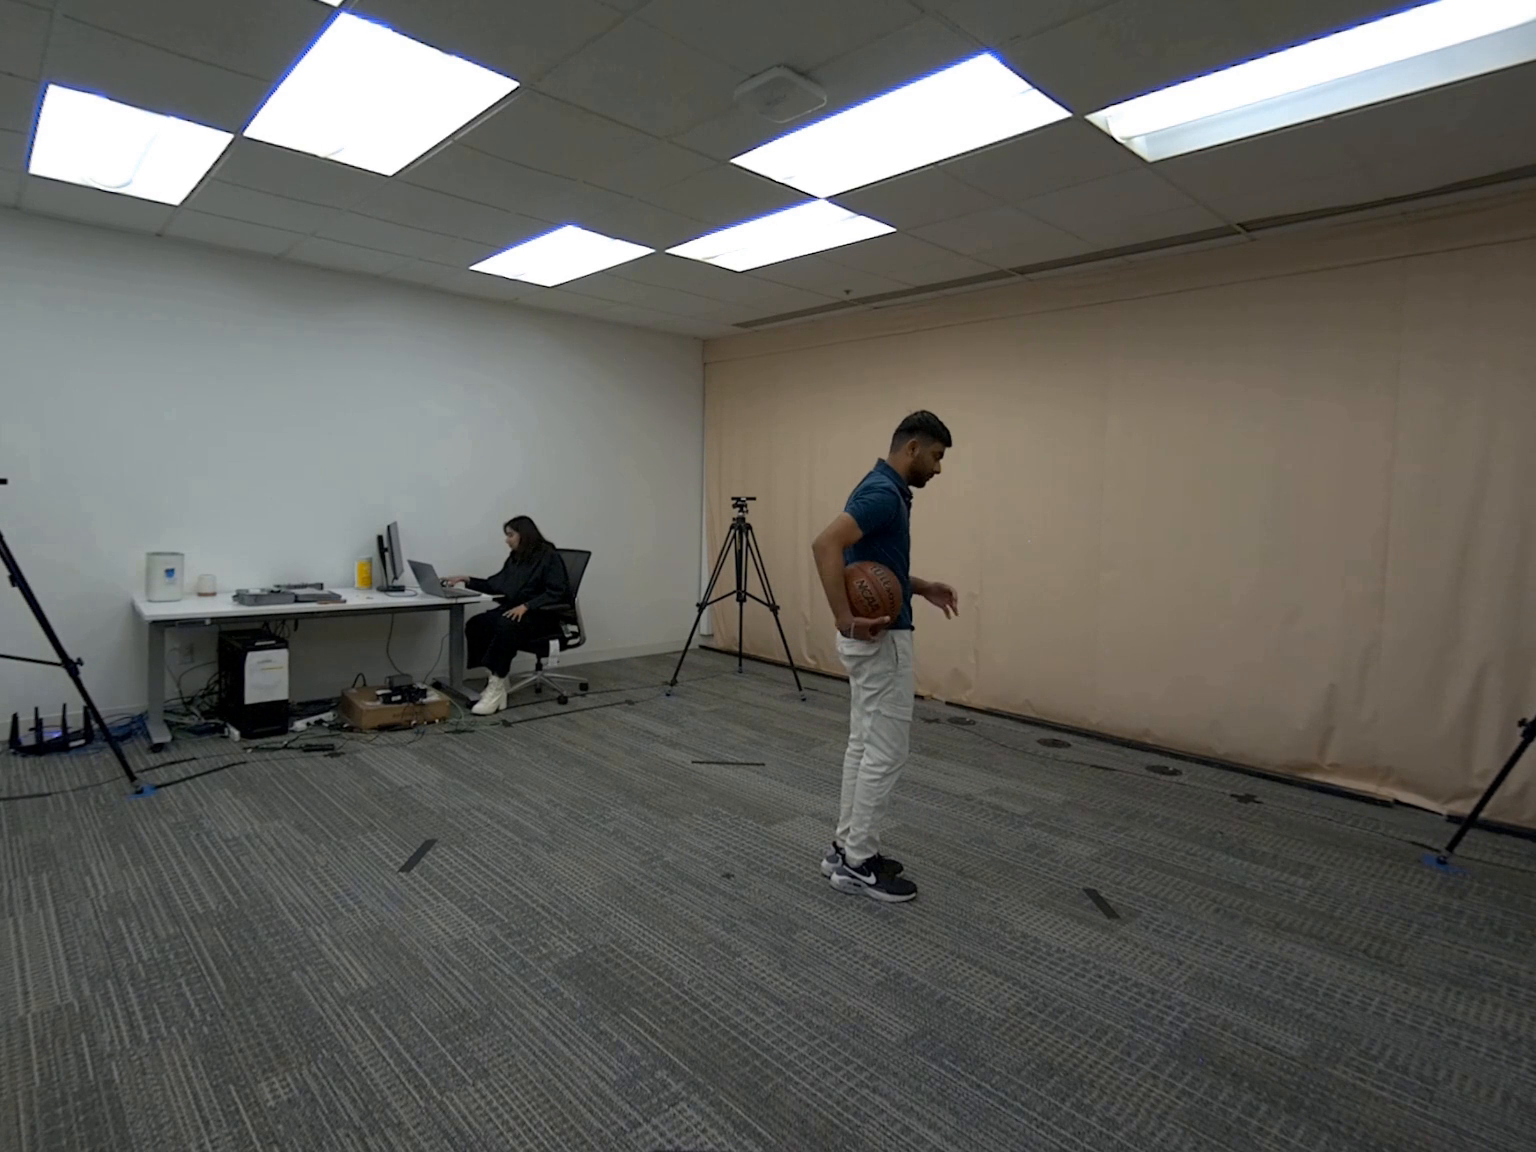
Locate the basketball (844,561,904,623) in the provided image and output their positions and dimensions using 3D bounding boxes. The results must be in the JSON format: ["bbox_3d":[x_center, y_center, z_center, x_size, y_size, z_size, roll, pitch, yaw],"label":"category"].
[{"bbox_3d":[0.329,0.077,2.773,0.236,0.235,0.237,1,4,-1],"label":"basketball"}]
